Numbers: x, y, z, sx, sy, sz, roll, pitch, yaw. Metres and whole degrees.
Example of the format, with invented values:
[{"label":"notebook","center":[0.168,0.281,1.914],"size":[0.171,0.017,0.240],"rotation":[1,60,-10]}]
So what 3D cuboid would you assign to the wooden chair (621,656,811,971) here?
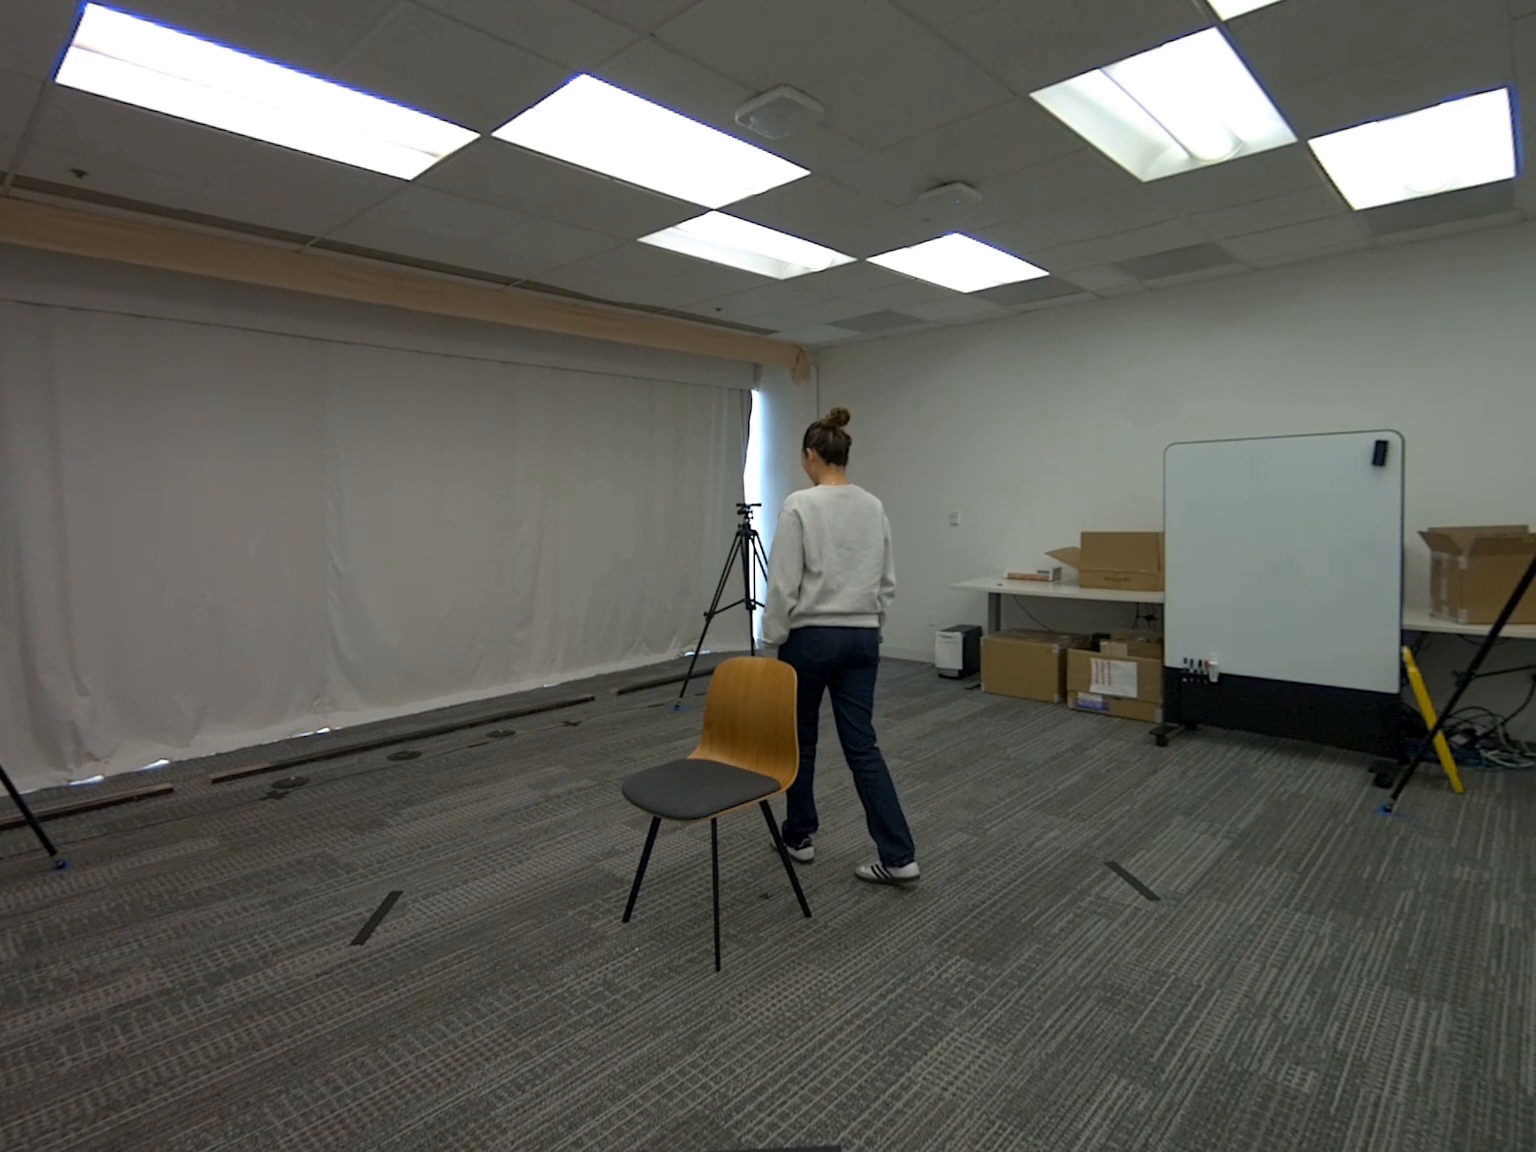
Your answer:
[{"label":"wooden chair","center":[-0.179,0.730,2.787],"size":[0.494,0.877,0.506],"rotation":[2,0,43]}]
